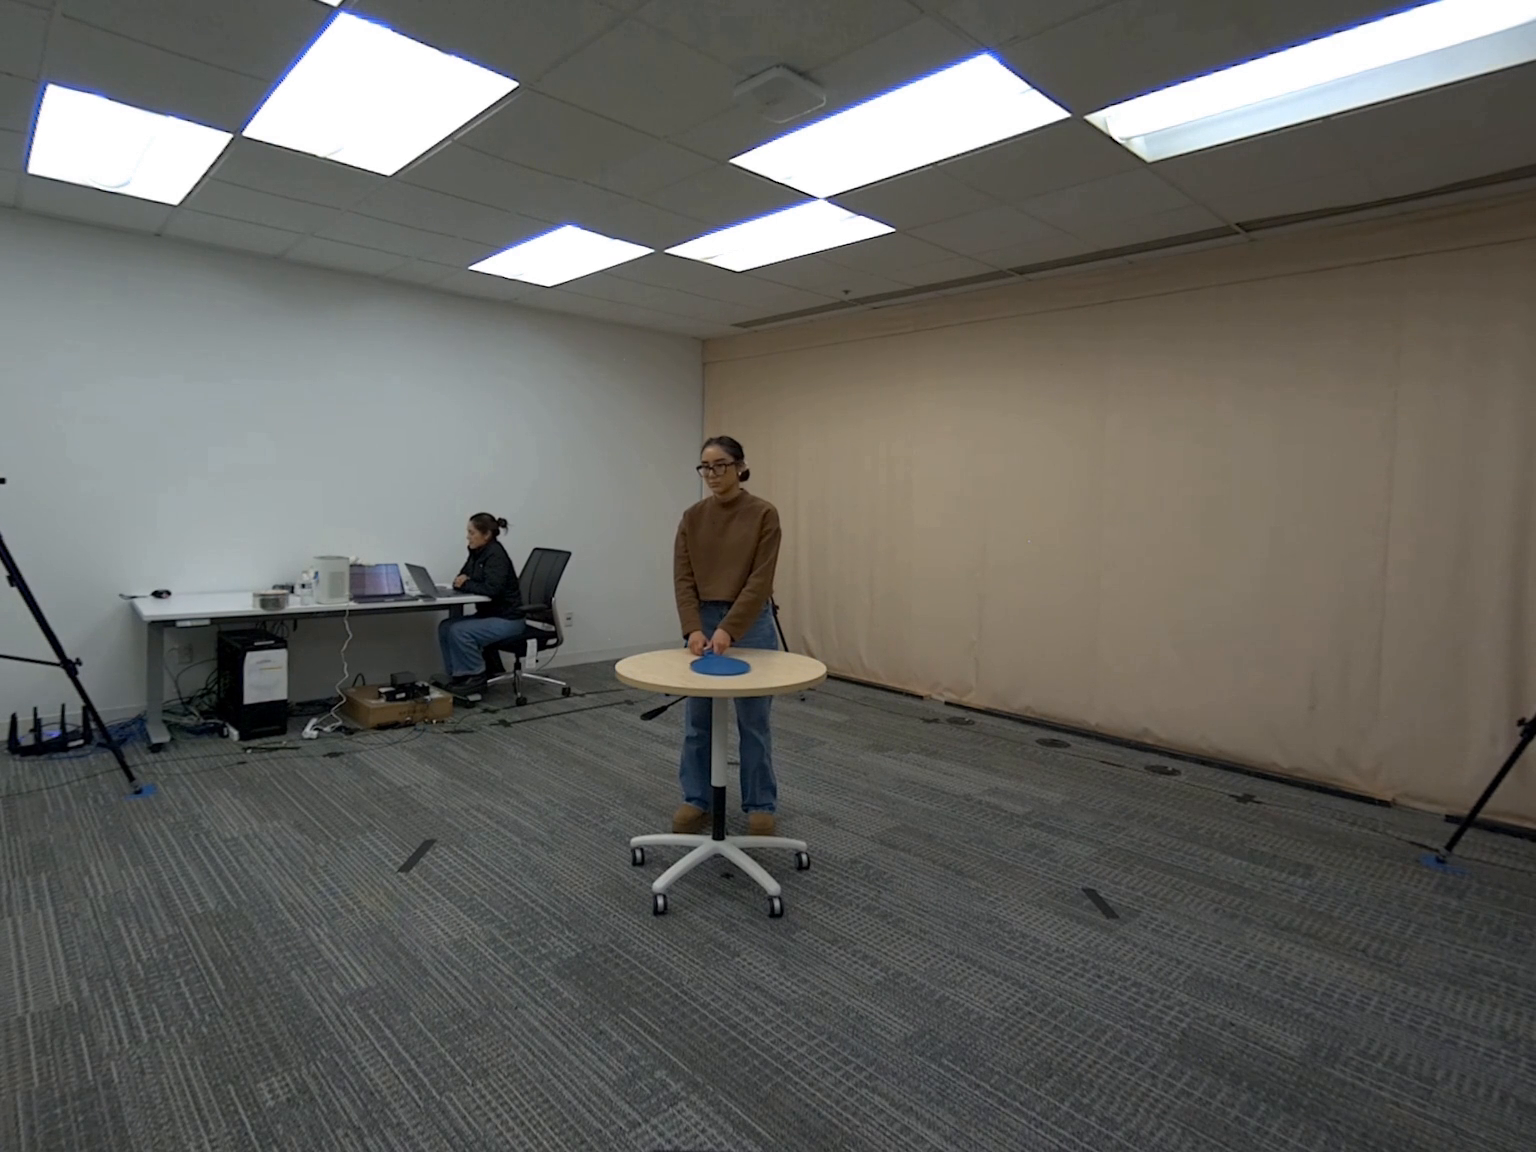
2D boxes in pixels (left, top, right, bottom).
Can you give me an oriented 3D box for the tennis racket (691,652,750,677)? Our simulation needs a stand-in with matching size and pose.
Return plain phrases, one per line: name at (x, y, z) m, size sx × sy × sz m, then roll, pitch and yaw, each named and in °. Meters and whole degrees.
tennis racket at (-0.200, 0.316, 3.088) m, size 0.212 × 0.031 × 0.437 m, roll -1°, pitch 7°, yaw -8°
